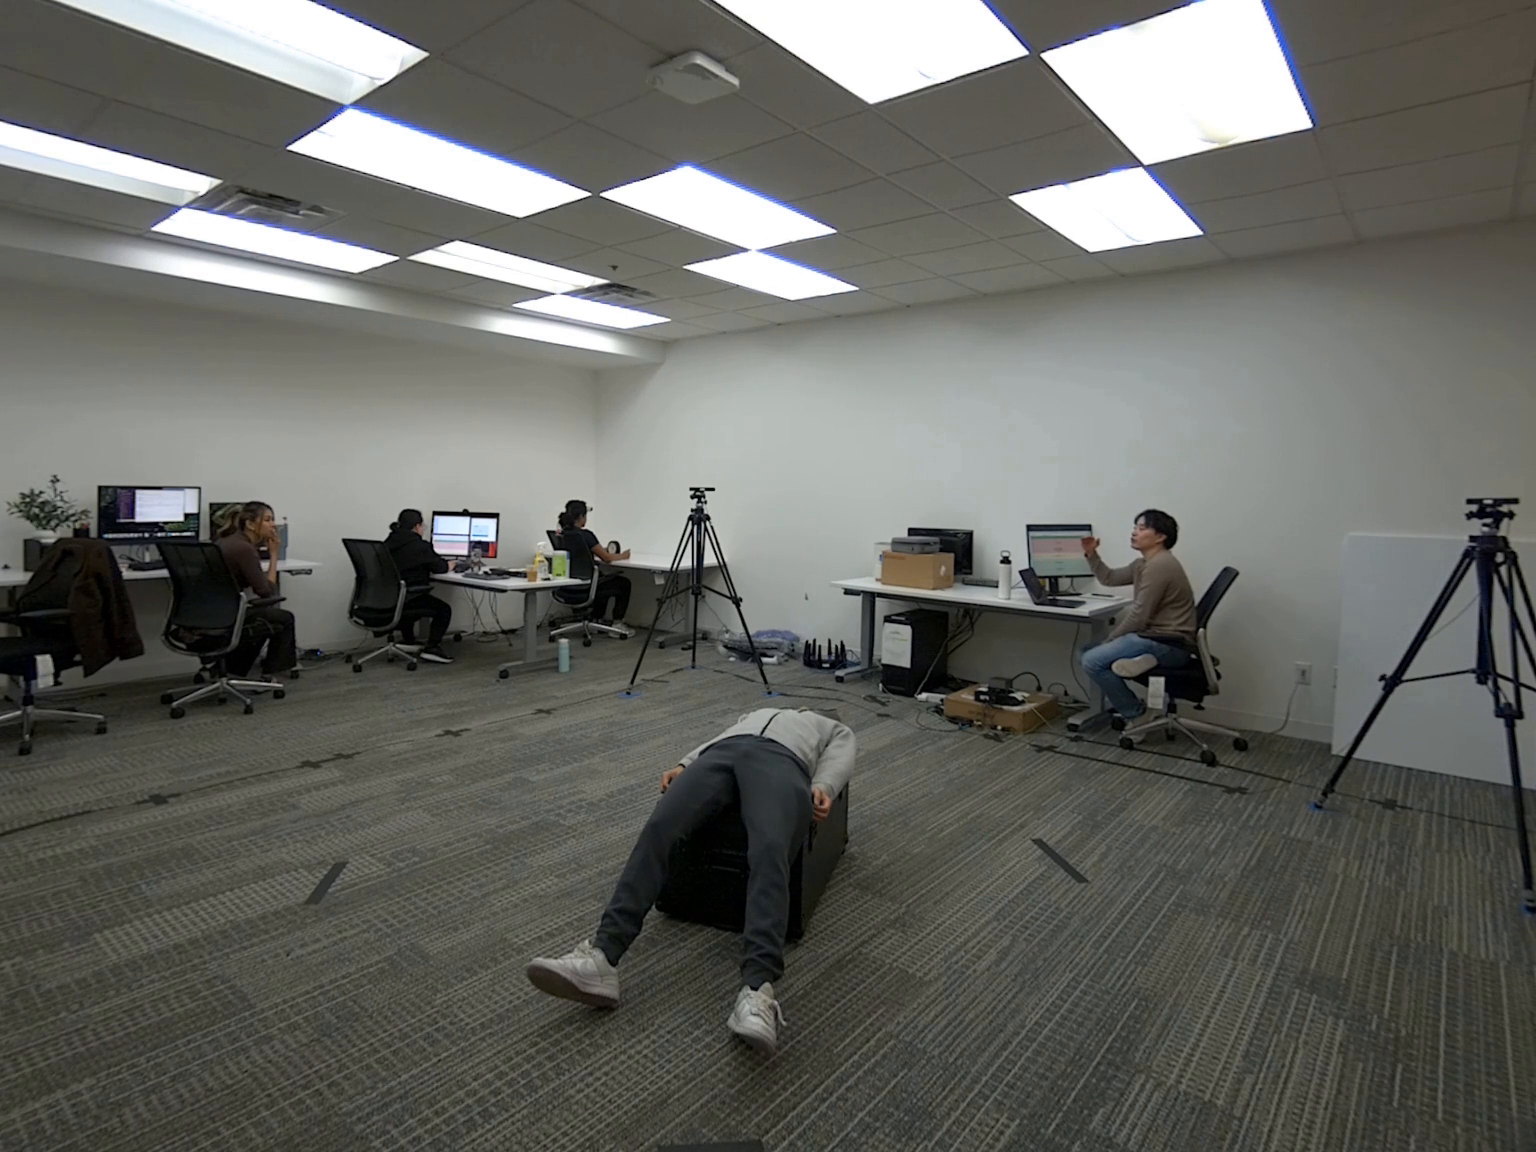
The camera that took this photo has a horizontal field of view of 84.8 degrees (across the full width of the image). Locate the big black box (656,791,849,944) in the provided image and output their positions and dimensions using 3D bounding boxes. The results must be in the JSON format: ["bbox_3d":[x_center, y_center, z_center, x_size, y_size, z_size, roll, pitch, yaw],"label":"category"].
[{"bbox_3d":[-0.044,0.894,2.992,0.532,0.395,0.847,3,5,17],"label":"big black box"}]
